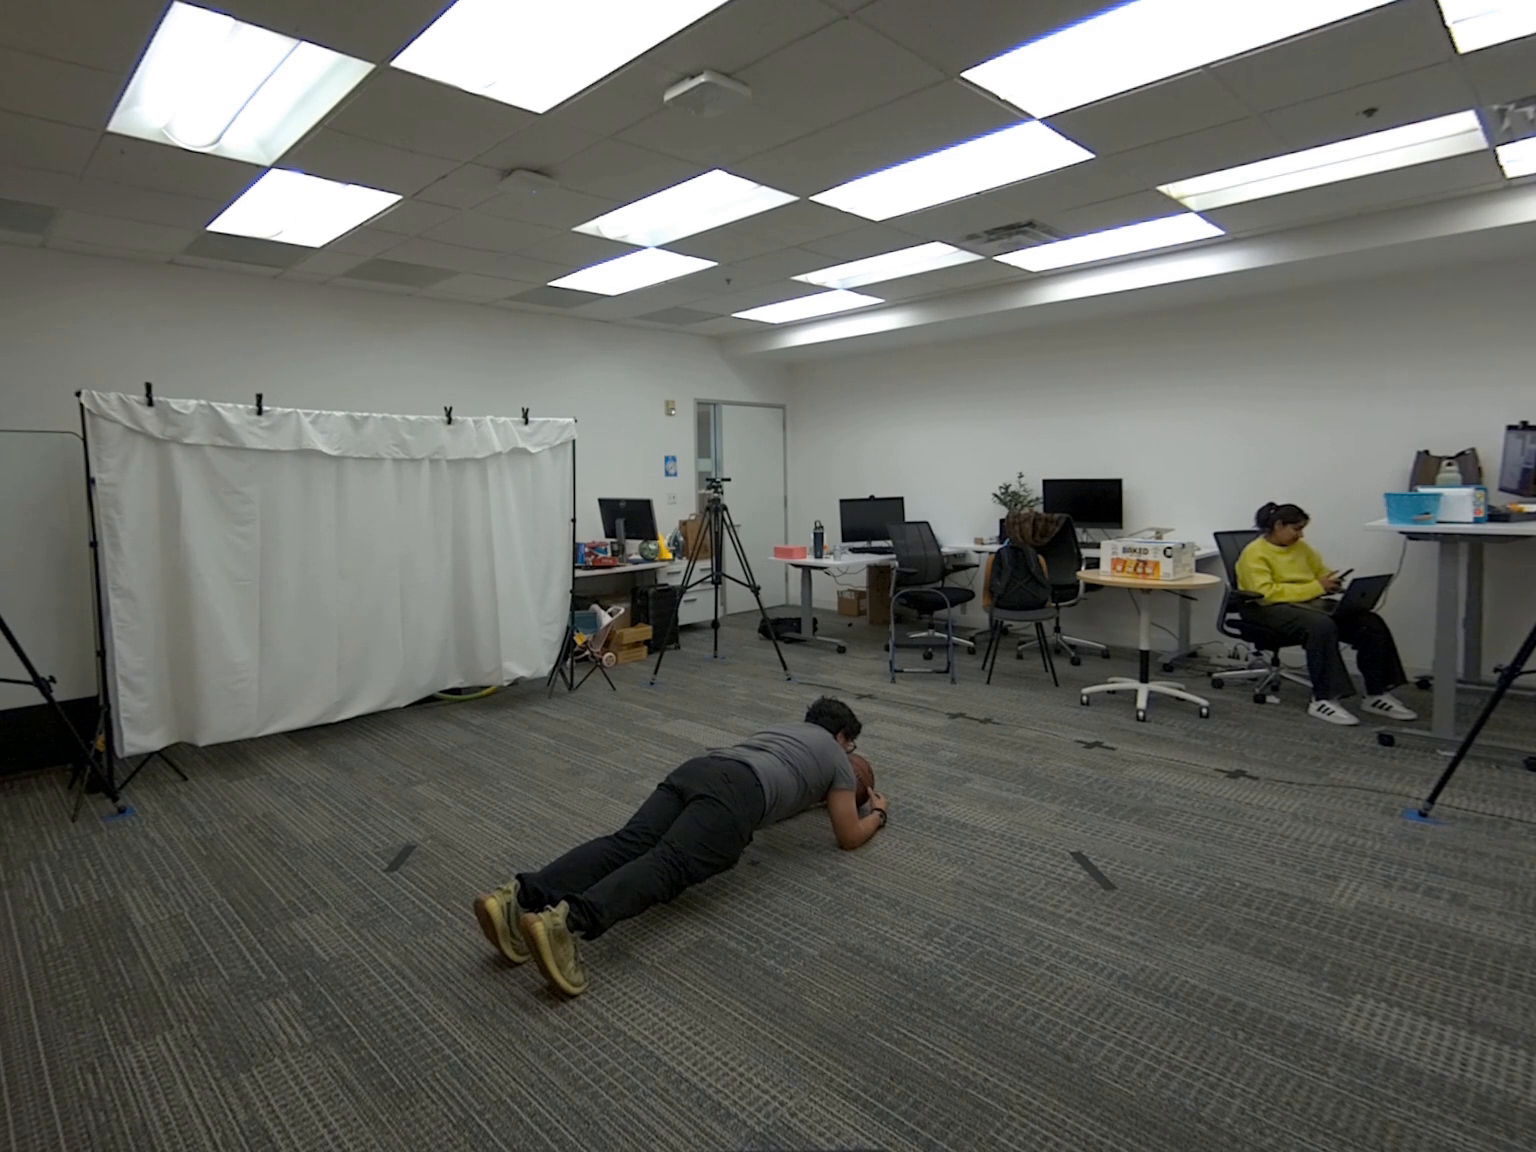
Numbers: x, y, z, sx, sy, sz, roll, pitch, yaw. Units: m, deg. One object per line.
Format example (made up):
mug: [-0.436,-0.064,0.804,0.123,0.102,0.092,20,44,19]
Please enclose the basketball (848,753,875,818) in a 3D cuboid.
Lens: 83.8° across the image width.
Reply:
basketball: [0.328,0.864,3.595,0.236,0.235,0.237,-1,5,-2]
